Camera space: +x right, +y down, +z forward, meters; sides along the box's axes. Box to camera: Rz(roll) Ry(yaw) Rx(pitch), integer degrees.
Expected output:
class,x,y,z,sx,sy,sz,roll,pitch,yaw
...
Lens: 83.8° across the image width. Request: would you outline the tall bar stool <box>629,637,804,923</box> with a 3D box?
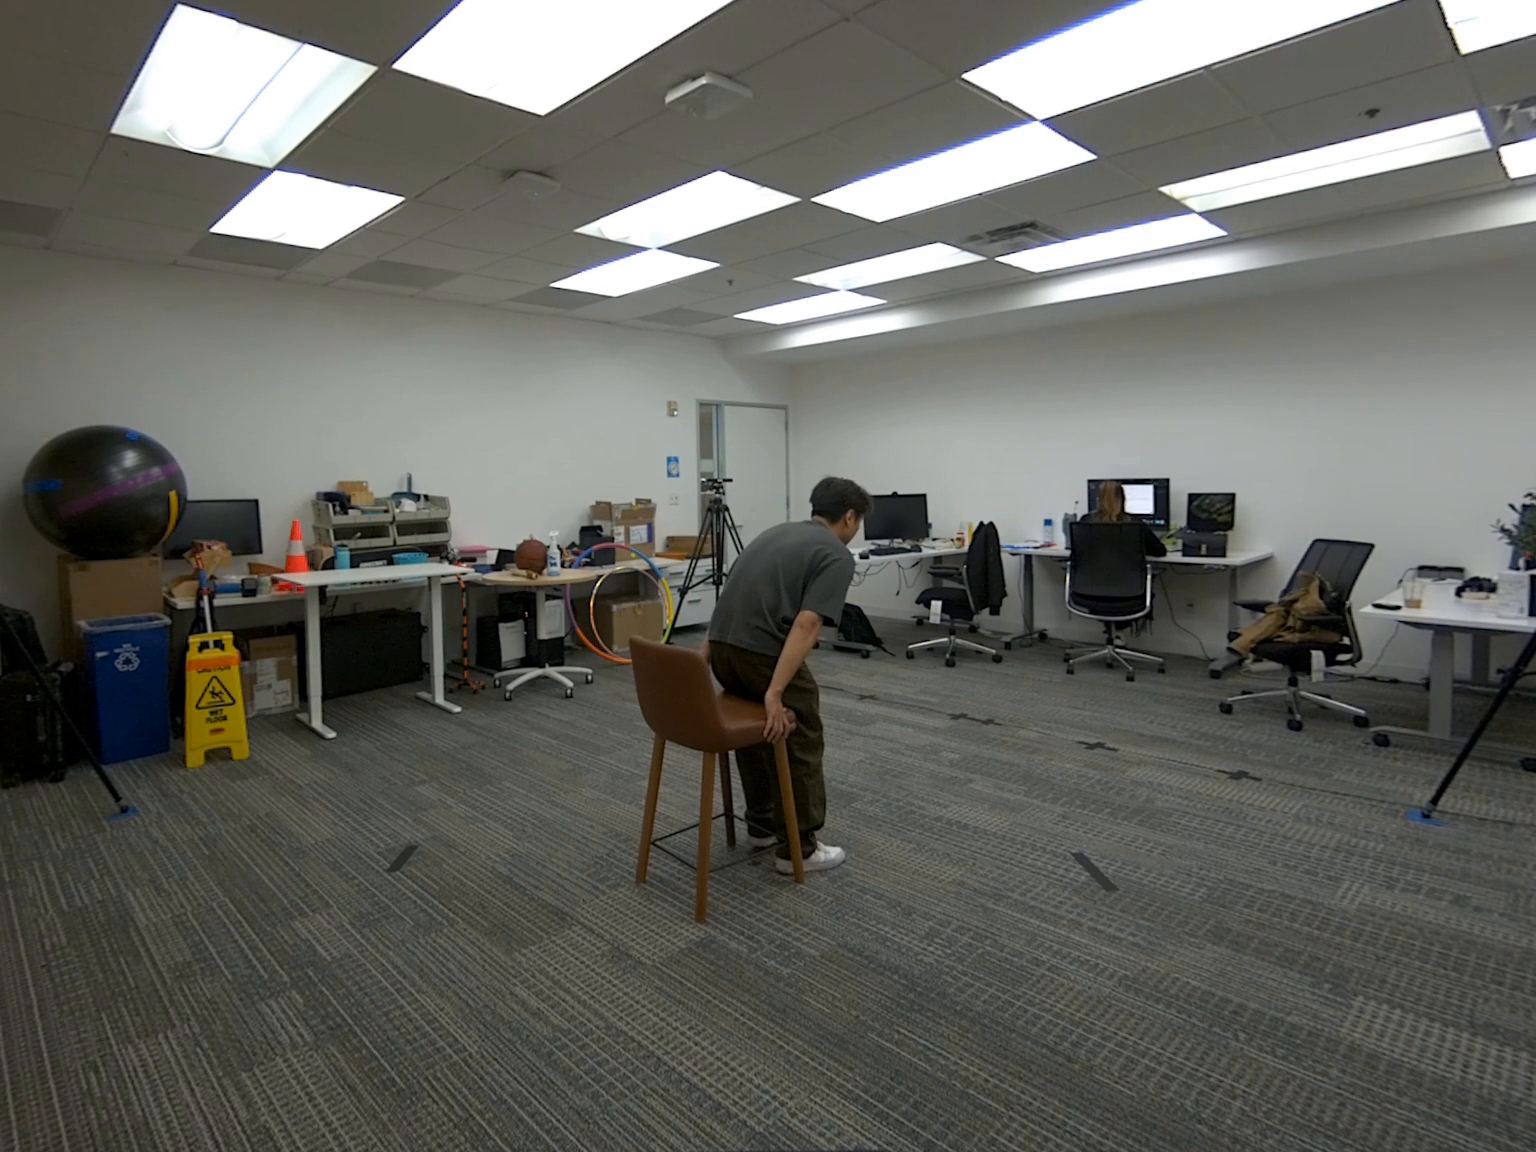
class,x,y,z,sx,sy,sz,roll,pitch,yaw
tall bar stool,-0.180,0.629,2.938,0.455,0.886,0.471,-5,7,-41
